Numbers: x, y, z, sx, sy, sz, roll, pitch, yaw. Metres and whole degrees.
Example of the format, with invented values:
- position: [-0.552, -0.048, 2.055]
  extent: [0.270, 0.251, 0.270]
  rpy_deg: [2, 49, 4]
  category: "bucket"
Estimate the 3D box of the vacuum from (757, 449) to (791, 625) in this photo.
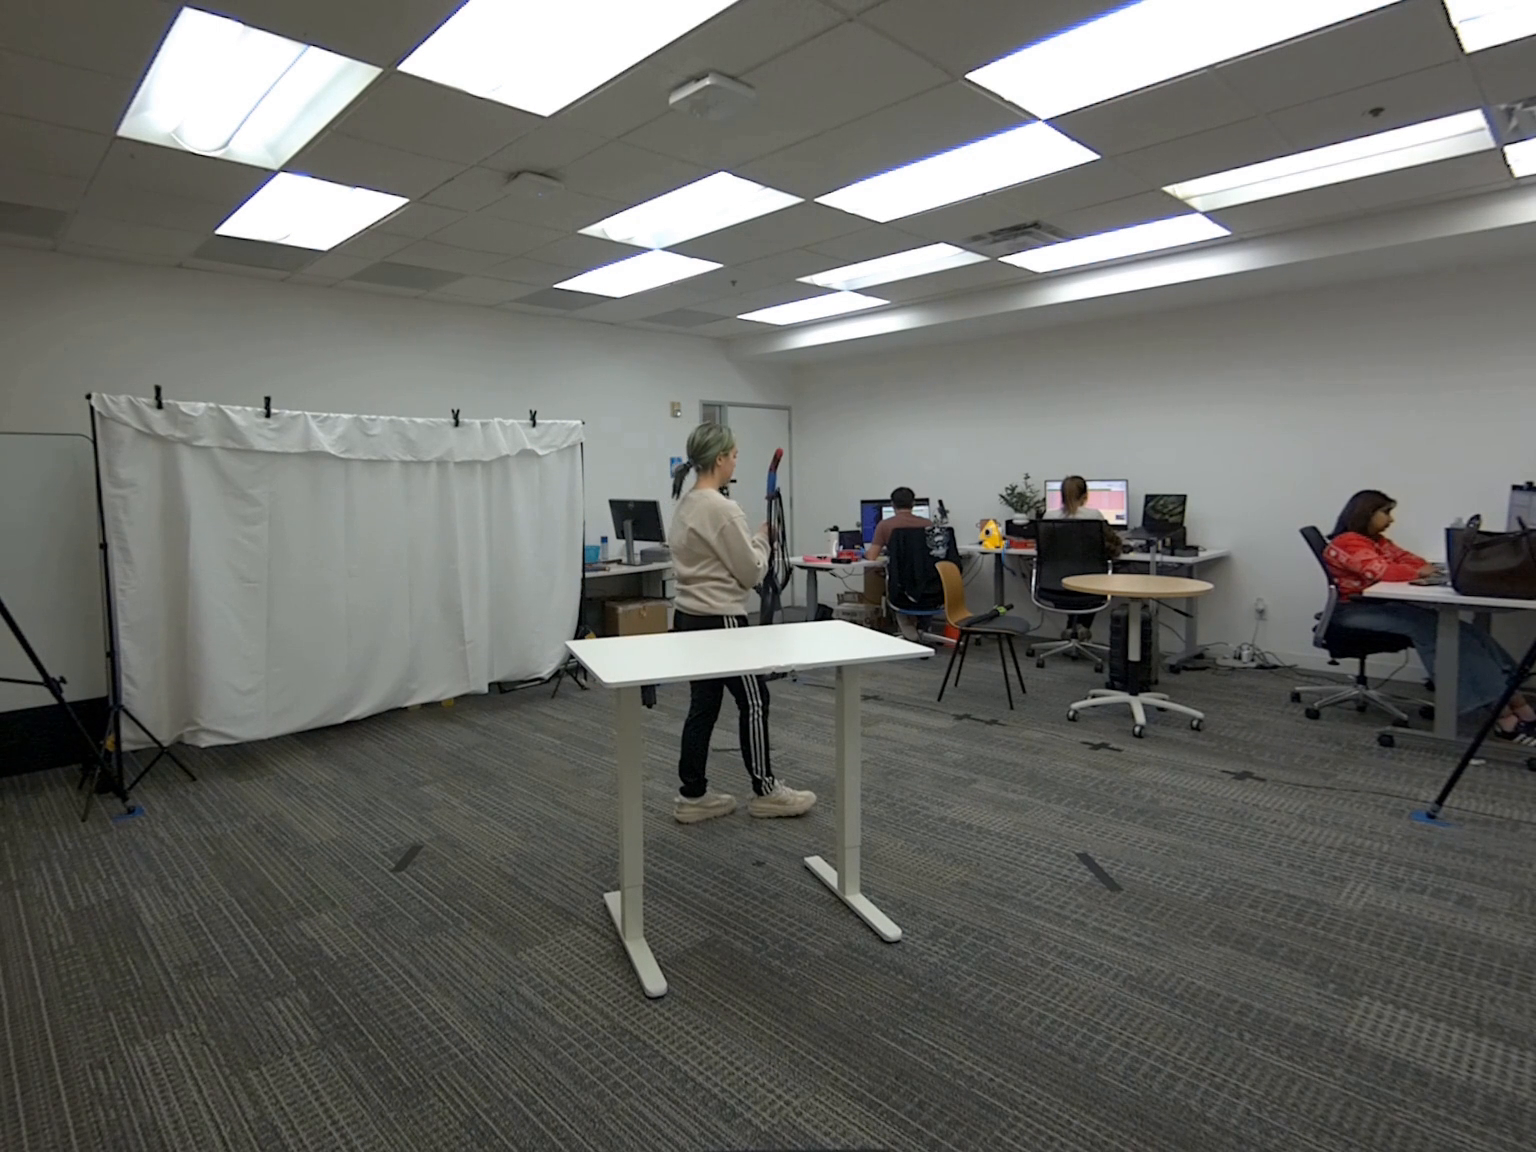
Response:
- position: [0.024, -0.030, 3.612]
  extent: [0.149, 1.032, 0.247]
  rpy_deg: [22, 26, 37]
  category: "vacuum"
